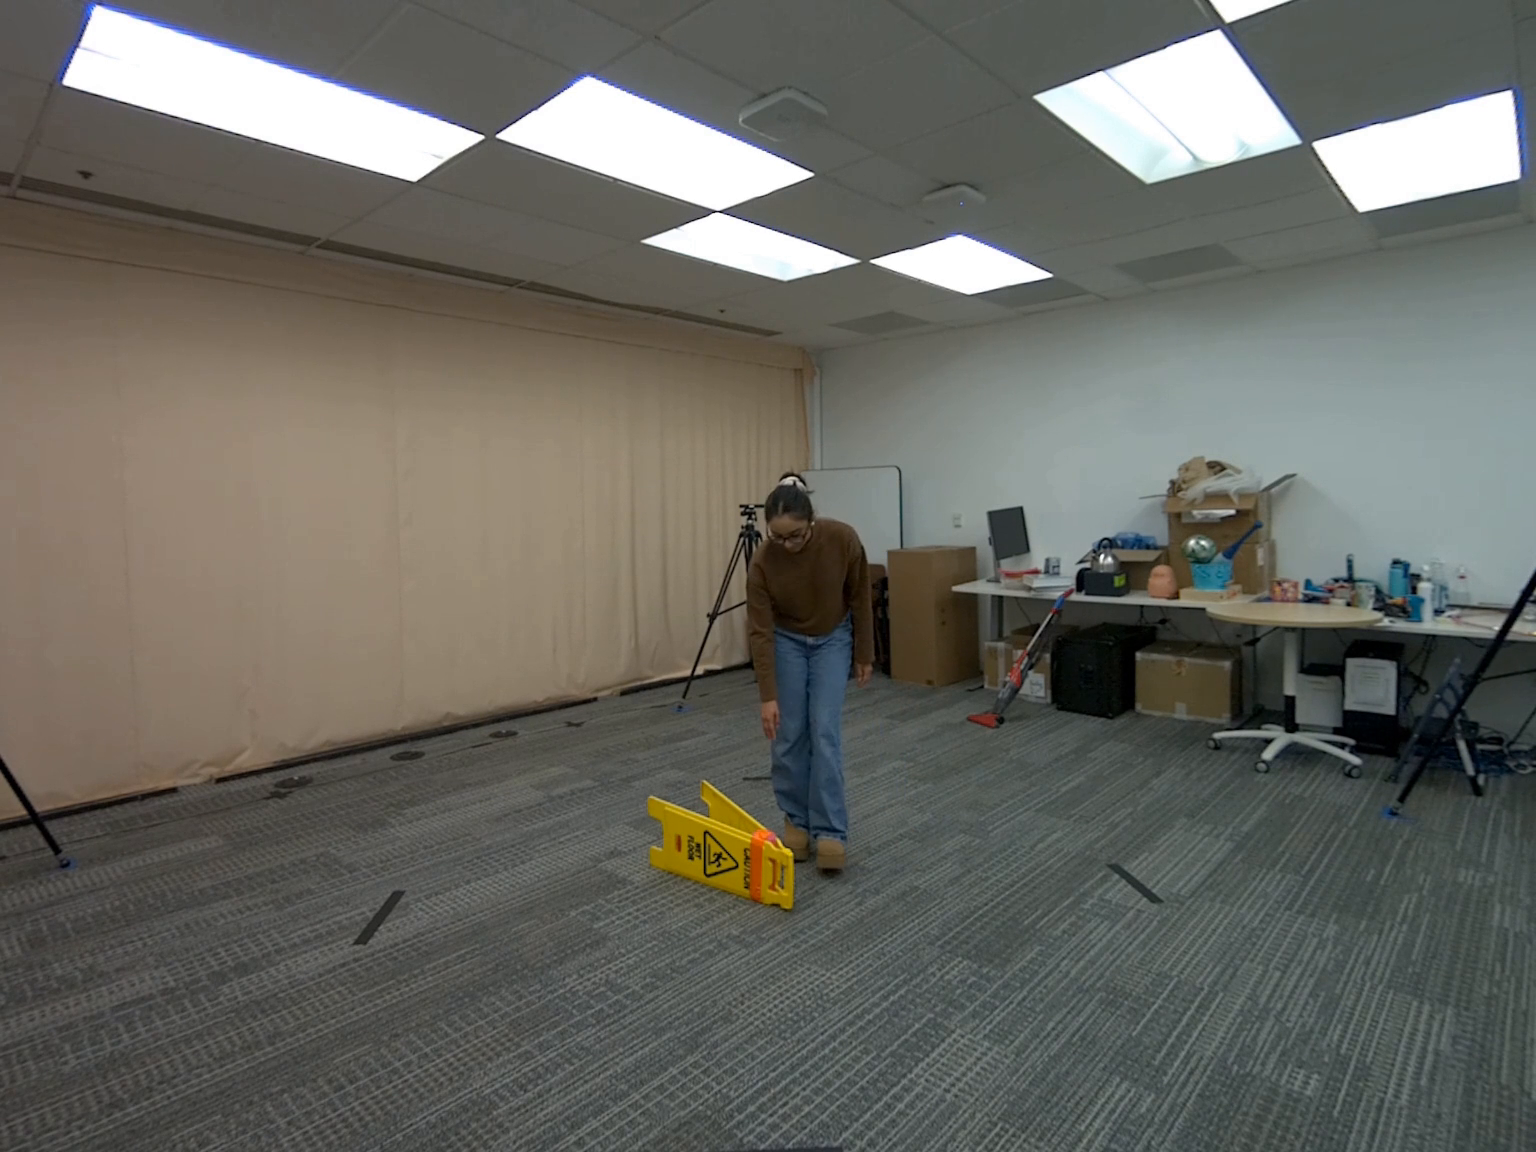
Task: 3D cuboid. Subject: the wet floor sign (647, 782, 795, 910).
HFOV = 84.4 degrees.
[{"bbox_3d":[-0.134,1.003,3.108,0.281,0.281,0.668,-5,9,-42],"label":"wet floor sign"}]
